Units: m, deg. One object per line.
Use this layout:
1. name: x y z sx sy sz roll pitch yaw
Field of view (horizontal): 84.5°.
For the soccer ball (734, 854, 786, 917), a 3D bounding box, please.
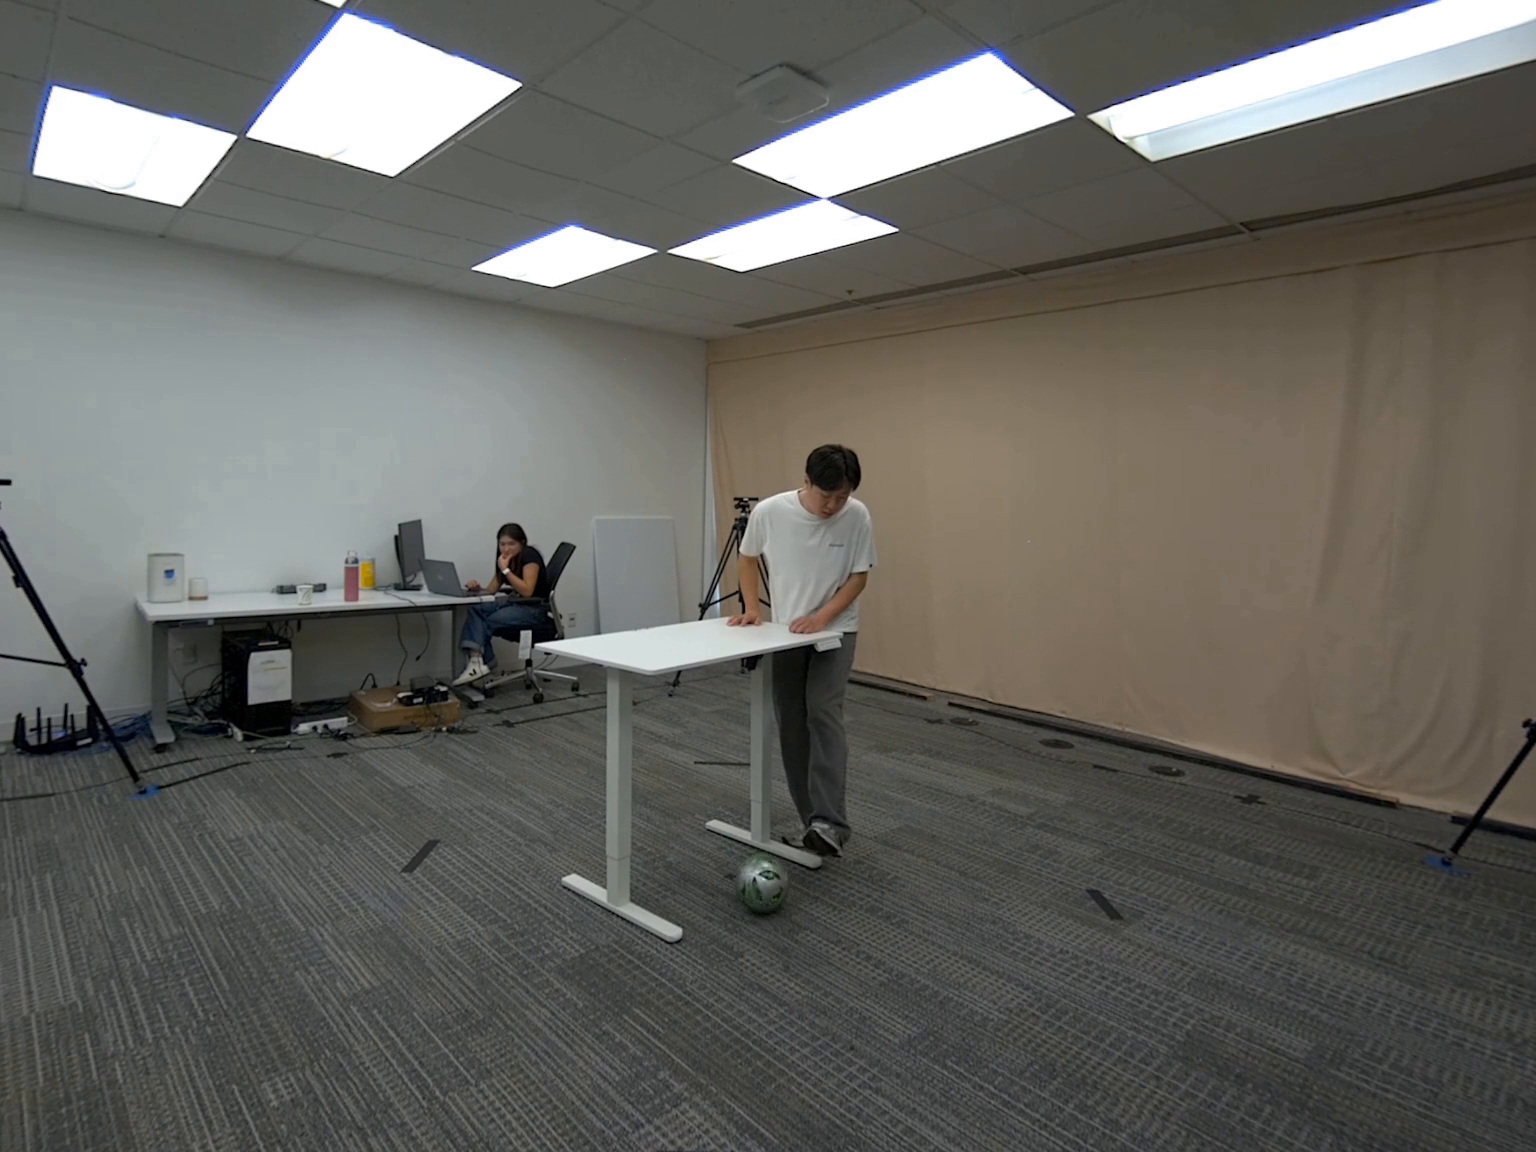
1. soccer ball: -0.030 1.045 2.837 0.187 0.187 0.188 1 4 -1
